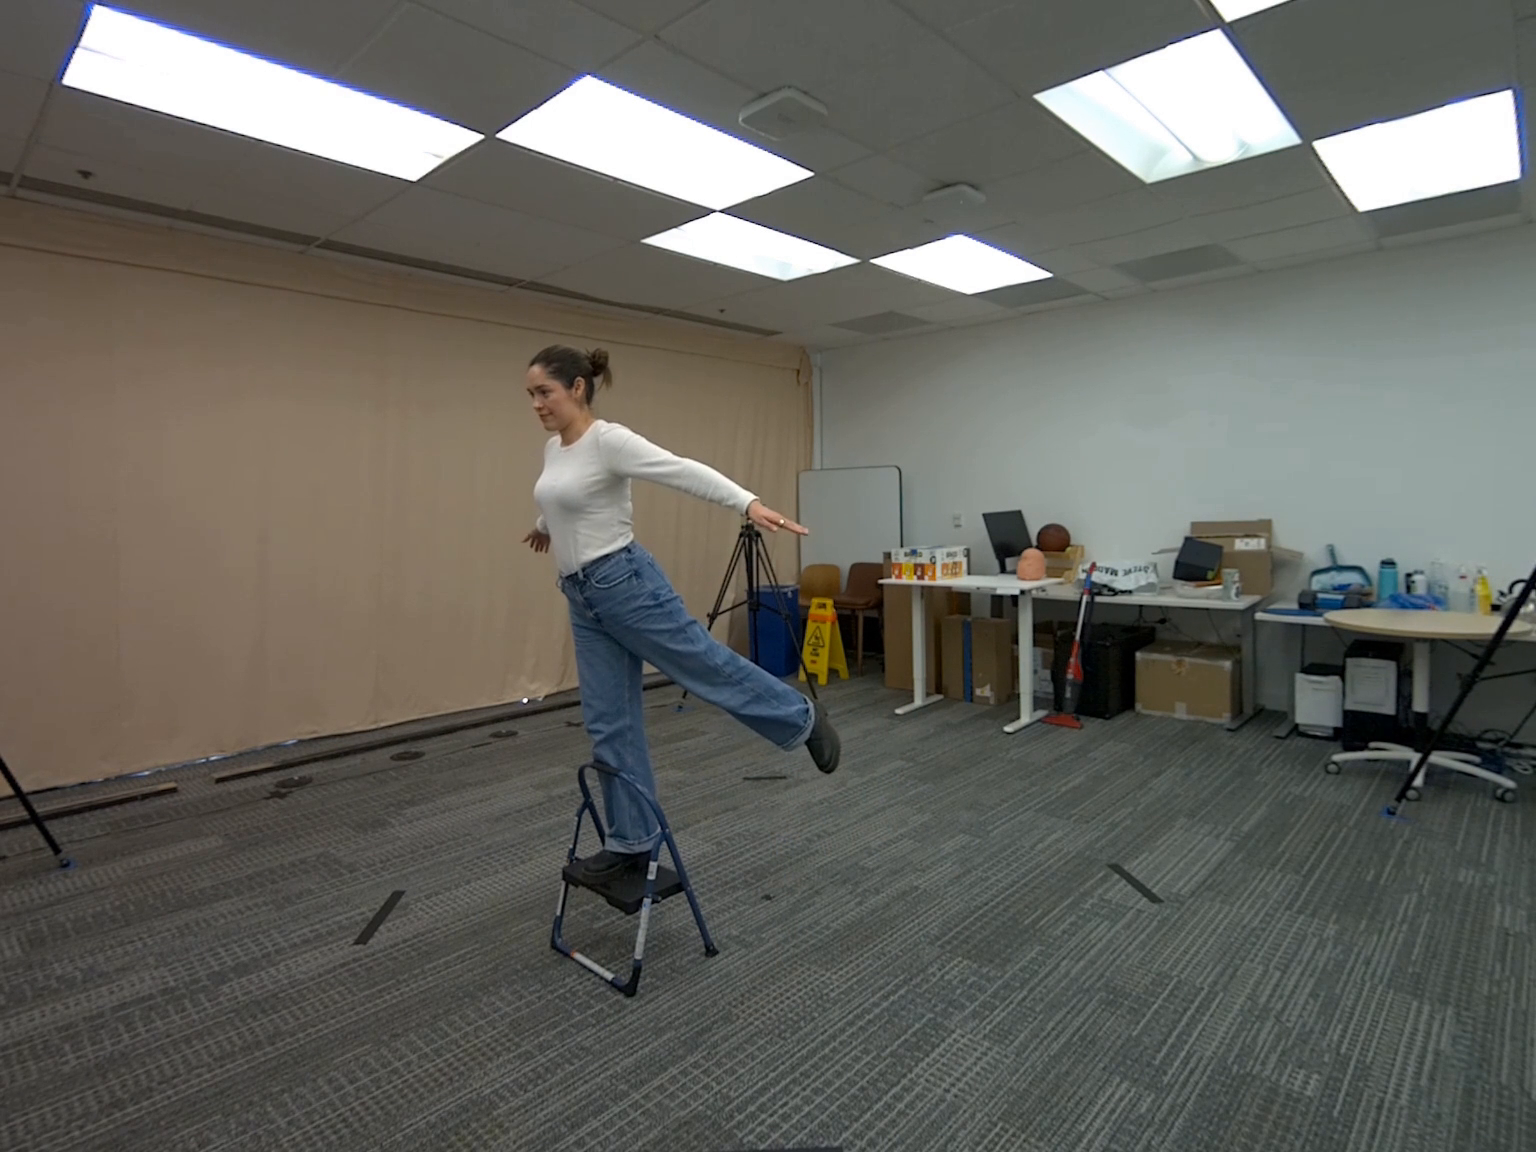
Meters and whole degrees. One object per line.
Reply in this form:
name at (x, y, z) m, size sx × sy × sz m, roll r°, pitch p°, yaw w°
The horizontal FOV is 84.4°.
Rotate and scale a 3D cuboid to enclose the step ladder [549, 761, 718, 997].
step ladder at (-0.430, 0.877, 2.633) m, size 0.445 × 0.605 × 0.339 m, roll 2°, pitch 5°, yaw 43°
